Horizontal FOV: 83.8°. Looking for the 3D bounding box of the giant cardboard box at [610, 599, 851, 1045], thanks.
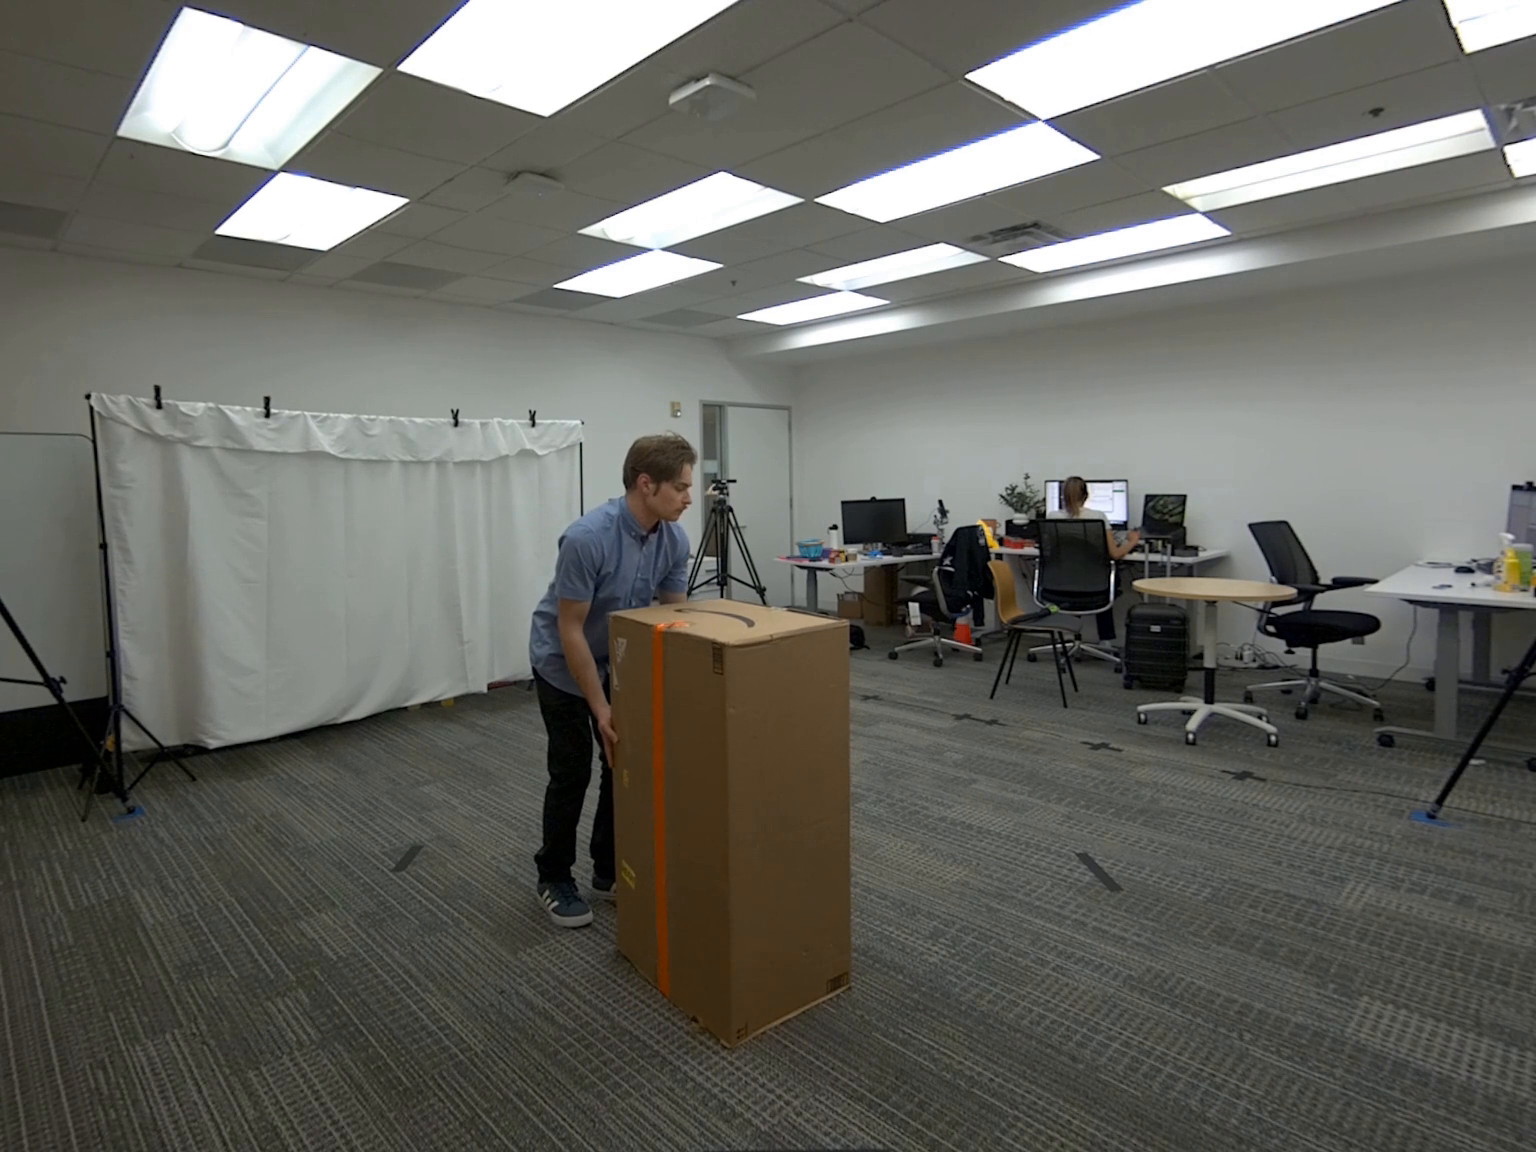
[{"bbox_3d":[-0.110,0.622,2.406,0.415,1.022,0.595,-4,6,-38],"label":"giant cardboard box"}]
